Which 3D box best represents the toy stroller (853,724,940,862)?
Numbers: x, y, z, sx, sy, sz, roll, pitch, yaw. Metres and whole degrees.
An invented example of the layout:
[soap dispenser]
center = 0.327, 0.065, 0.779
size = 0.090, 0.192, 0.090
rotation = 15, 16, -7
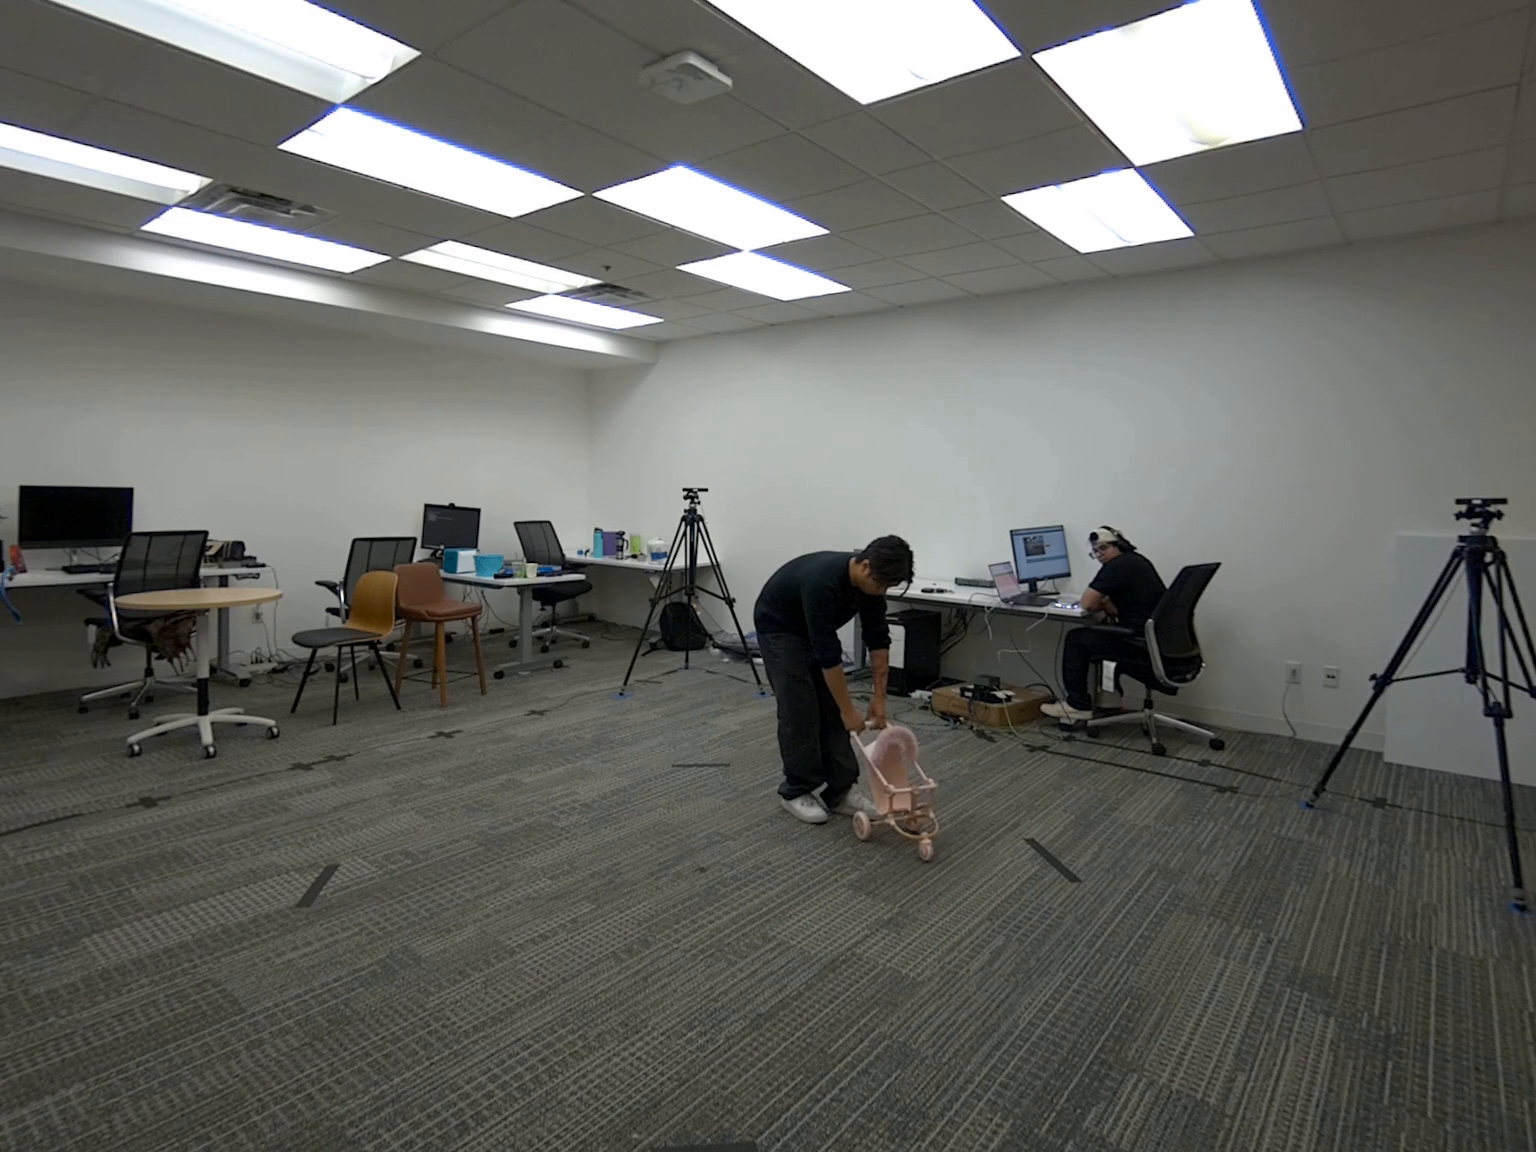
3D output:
[toy stroller]
center = 0.506, 0.832, 3.399
size = 0.276, 0.542, 0.344
rotation = -1, -13, -21
